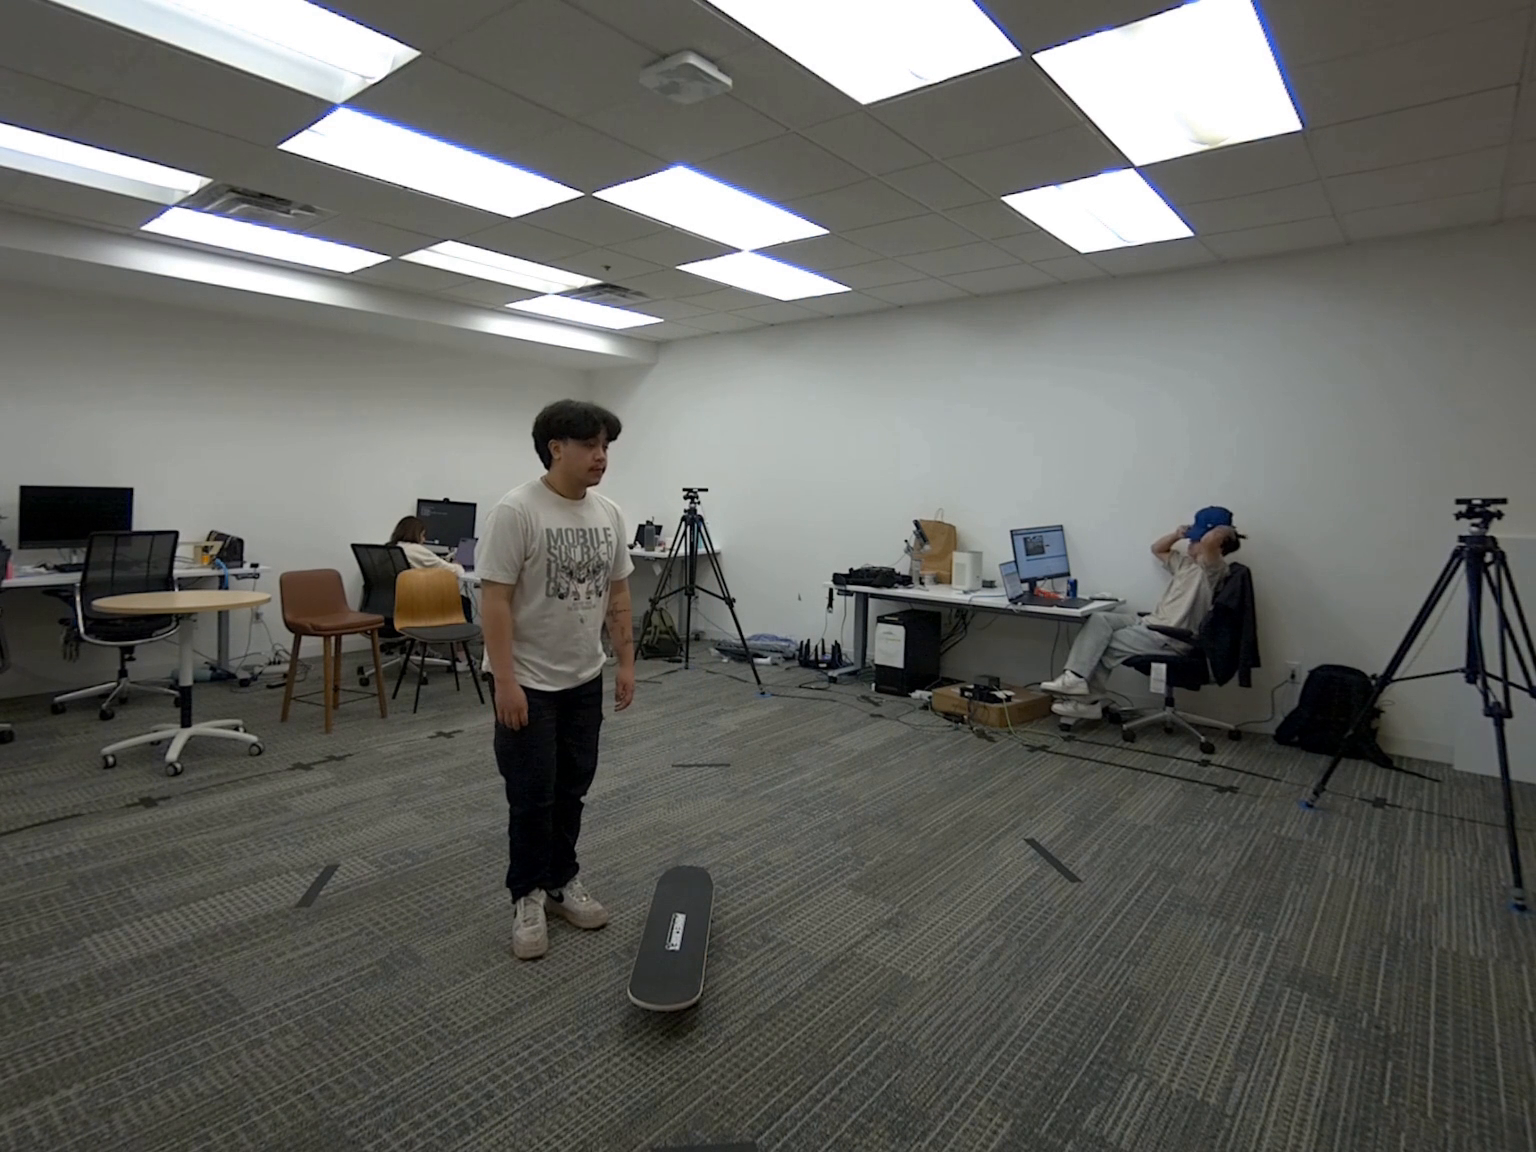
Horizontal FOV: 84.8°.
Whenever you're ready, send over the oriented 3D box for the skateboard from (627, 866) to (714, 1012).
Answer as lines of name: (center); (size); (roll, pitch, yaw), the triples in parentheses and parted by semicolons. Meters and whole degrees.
skateboard: (-0.275, 1.072, 2.499); (0.194, 0.110, 0.787); (1, 6, 0)
